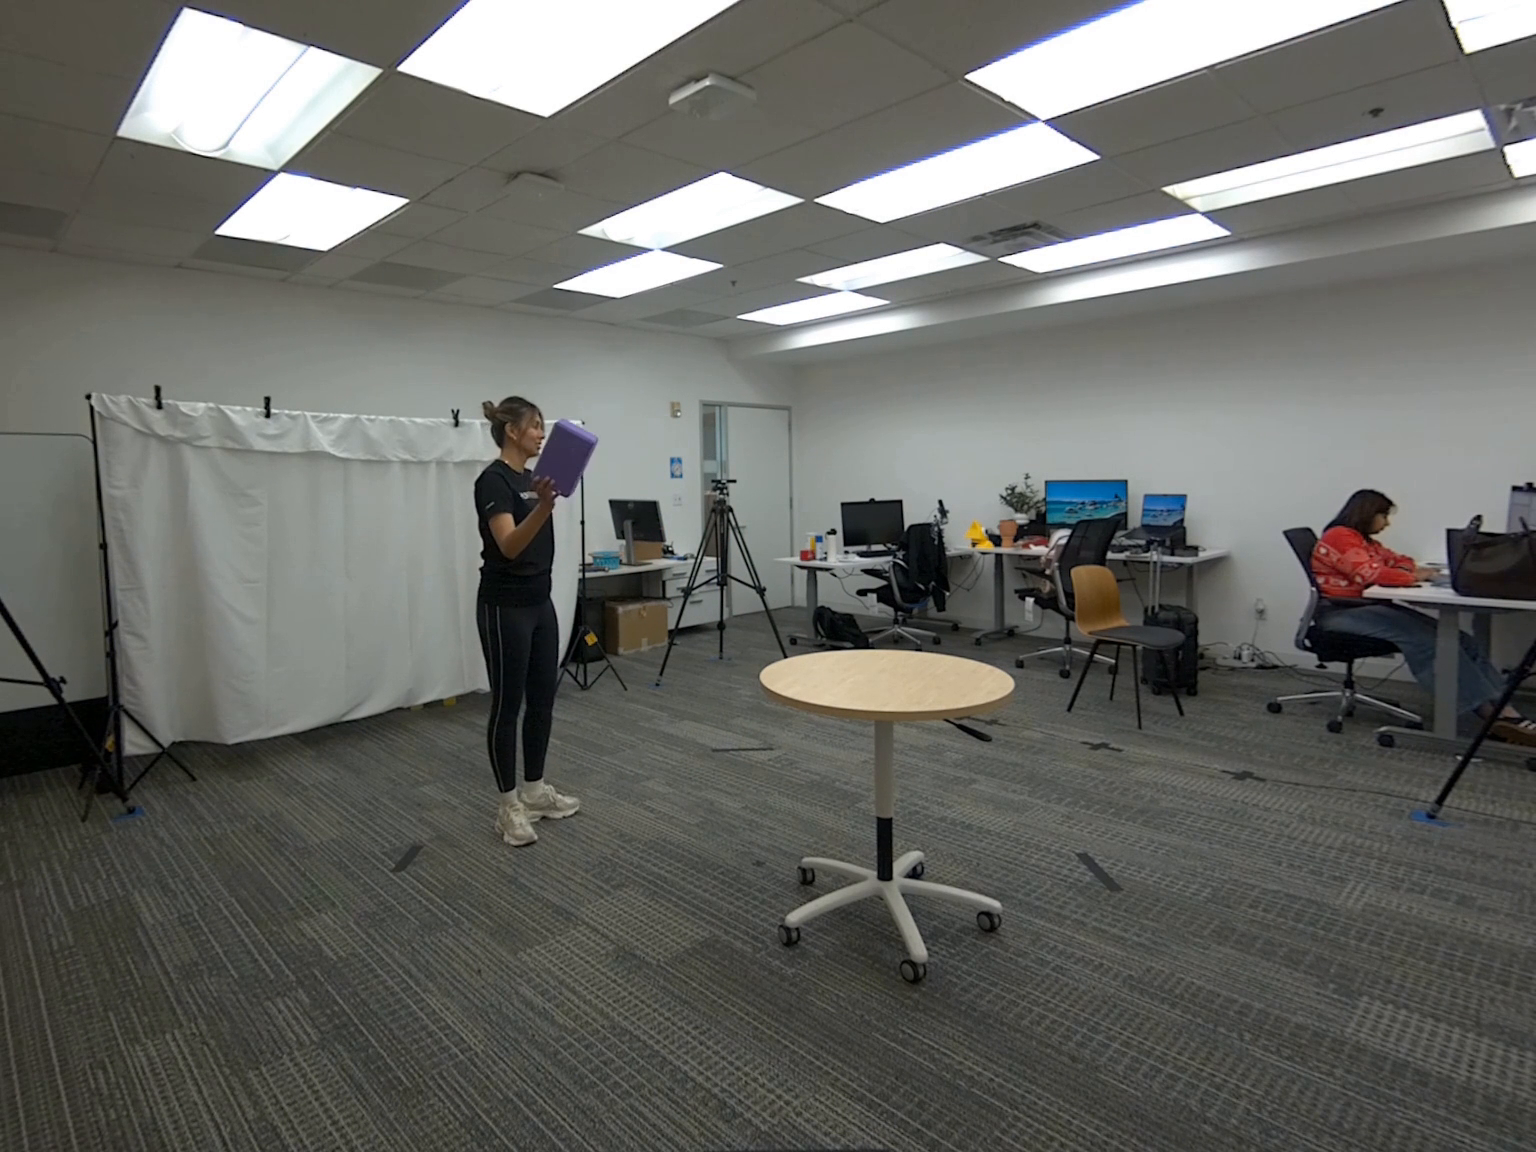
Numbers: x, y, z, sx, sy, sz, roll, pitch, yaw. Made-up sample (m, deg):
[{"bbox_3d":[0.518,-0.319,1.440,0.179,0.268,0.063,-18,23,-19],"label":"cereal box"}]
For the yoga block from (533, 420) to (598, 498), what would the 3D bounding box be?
[{"bbox_3d":[-0.694,-0.401,2.905,0.149,0.228,0.077,29,21,-1],"label":"yoga block"}]
